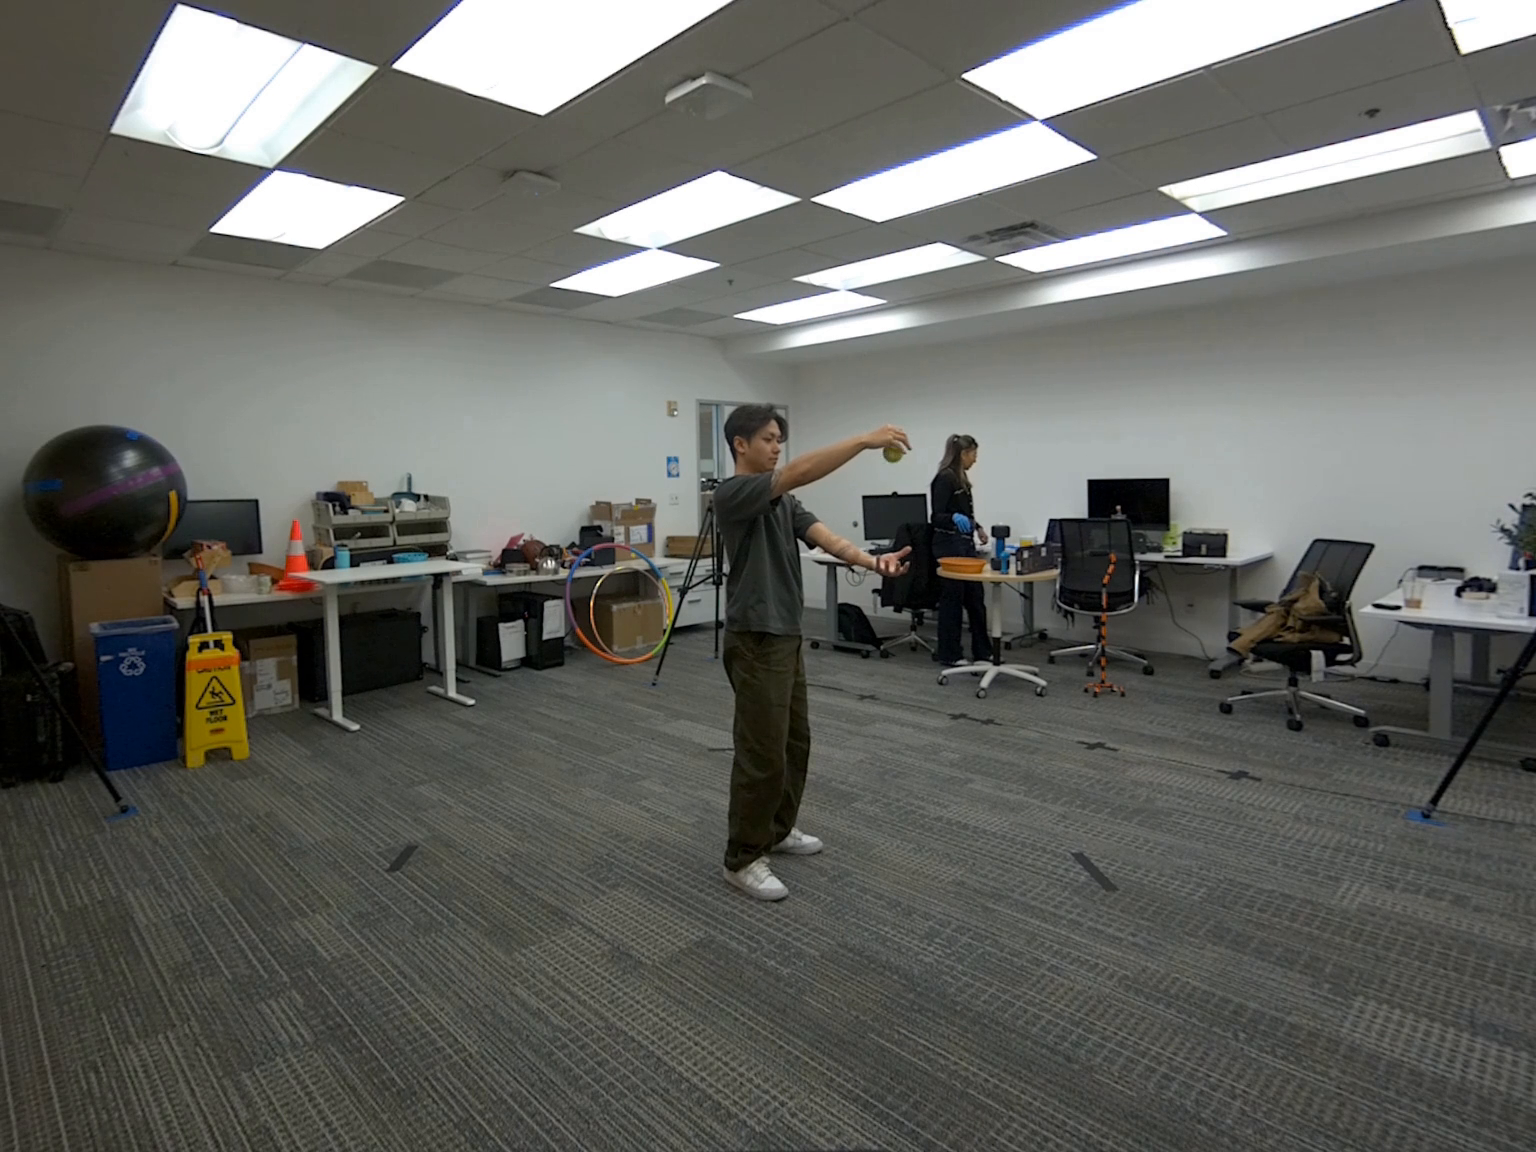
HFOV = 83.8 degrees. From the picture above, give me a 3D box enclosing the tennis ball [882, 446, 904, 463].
[{"bbox_3d":[0.404,-0.382,2.728,0.066,0.066,0.067,-1,5,-2],"label":"tennis ball"}]
